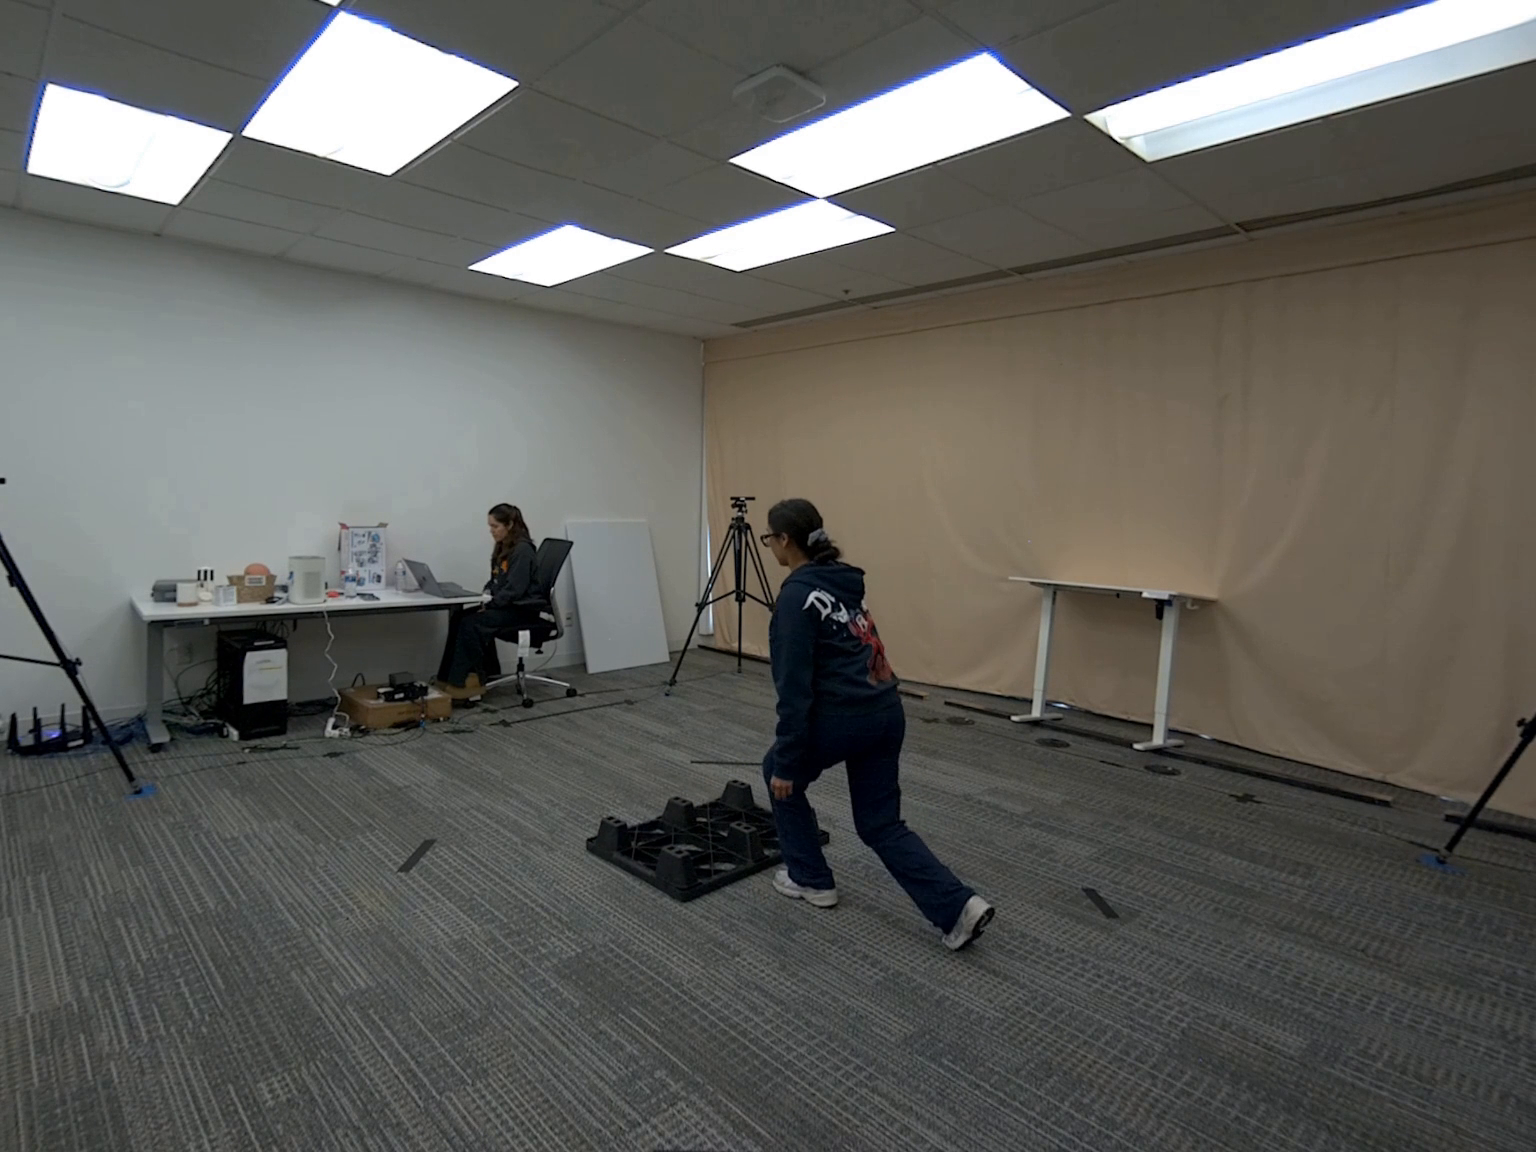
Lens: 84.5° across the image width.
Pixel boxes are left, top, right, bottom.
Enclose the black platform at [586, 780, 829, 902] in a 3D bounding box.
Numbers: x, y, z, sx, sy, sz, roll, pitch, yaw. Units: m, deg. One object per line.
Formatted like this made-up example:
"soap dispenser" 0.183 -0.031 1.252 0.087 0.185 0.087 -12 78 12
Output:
"black platform" -0.240 1.016 3.373 0.621 0.143 0.787 7 7 44
